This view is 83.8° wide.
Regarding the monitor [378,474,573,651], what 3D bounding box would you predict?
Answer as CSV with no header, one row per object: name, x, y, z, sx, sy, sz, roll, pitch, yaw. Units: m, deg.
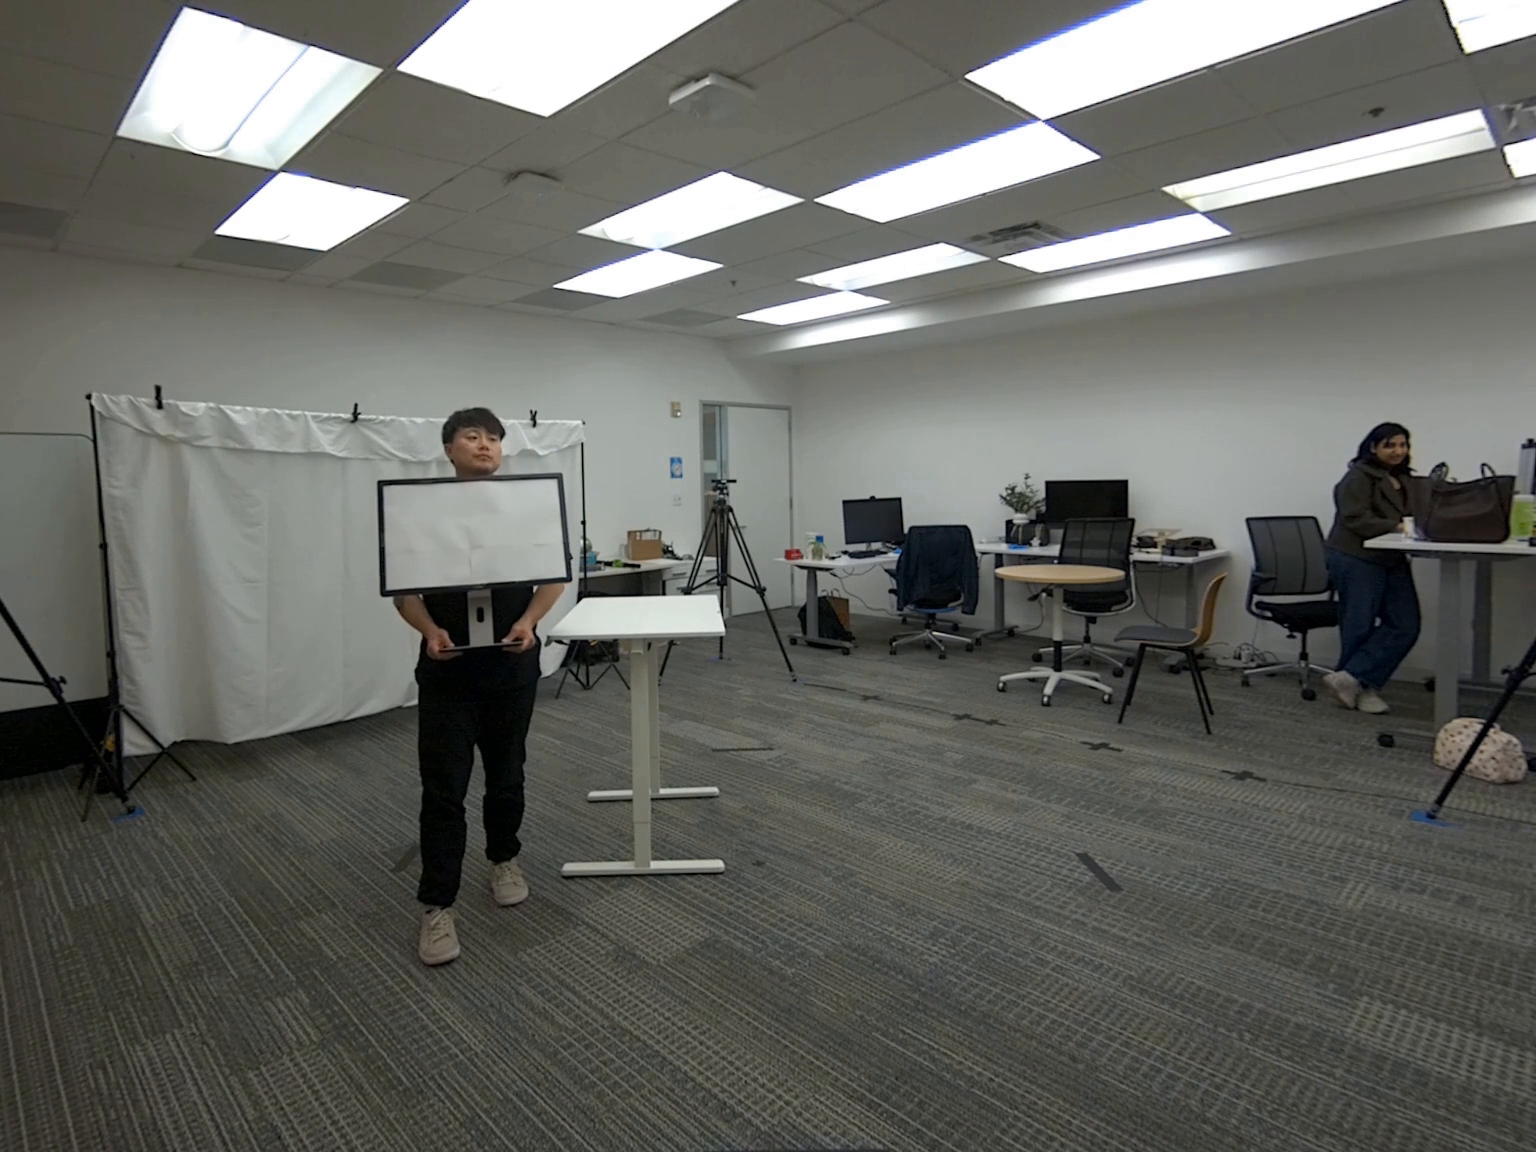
monitor,-0.902,-0.042,2.641,0.531,0.525,0.189,-4,-5,-18
